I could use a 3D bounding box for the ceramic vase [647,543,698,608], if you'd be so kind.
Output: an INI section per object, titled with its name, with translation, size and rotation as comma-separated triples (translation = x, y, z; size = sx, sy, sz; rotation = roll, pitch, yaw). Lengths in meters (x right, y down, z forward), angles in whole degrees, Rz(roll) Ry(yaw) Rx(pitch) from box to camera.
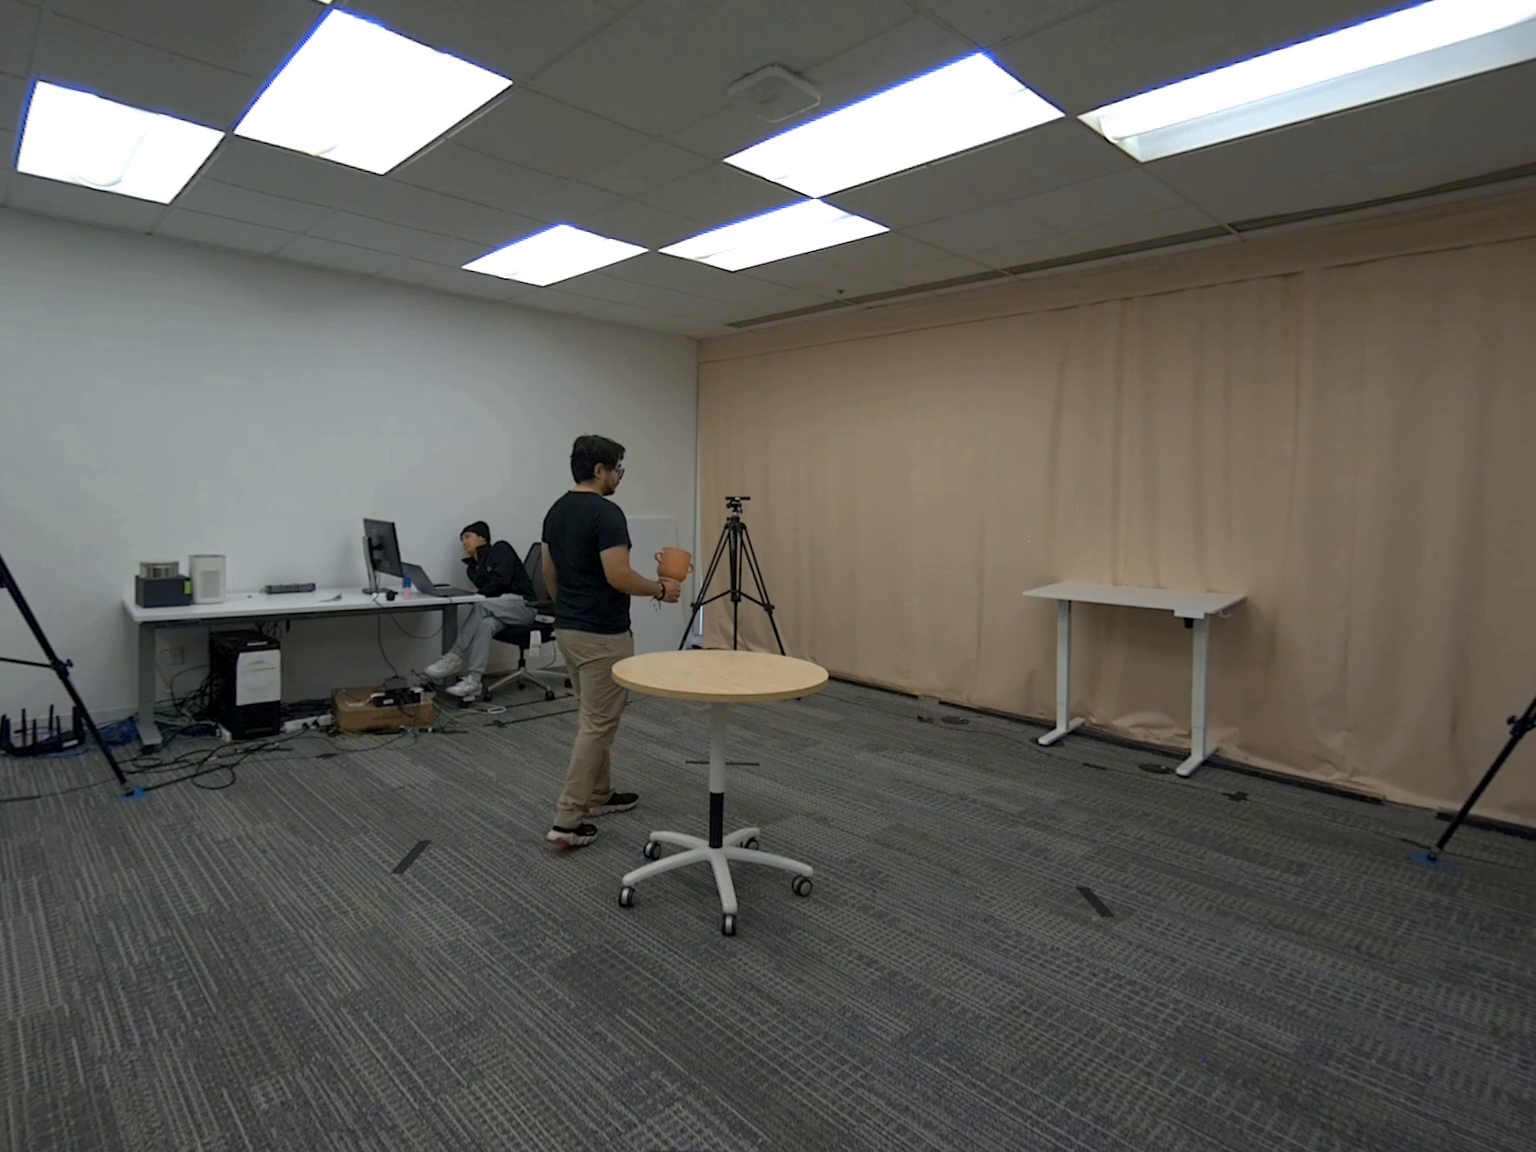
[ceramic vase]
translation = -0.419, -0.004, 3.637
size = 0.160, 0.222, 0.132
rotation = 10, -17, 10
